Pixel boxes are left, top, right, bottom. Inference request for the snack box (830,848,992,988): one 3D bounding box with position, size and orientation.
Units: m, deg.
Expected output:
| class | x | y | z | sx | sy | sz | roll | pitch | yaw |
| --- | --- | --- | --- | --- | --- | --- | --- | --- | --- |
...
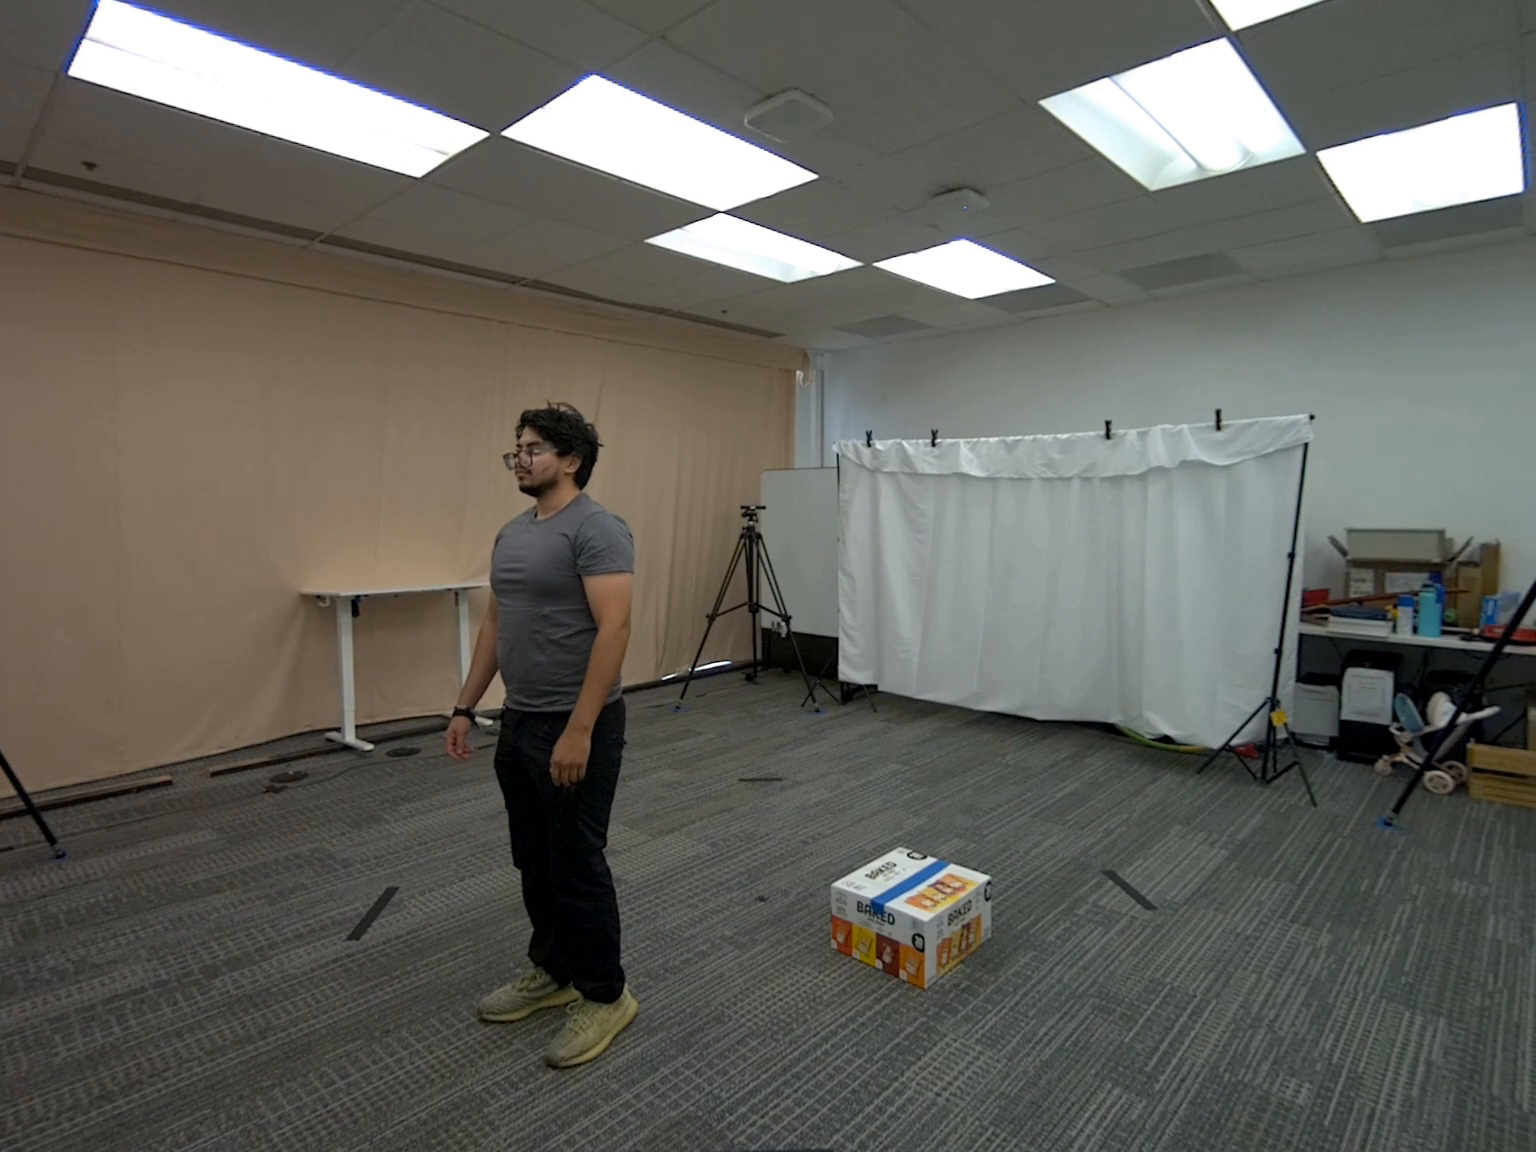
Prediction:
| class | x | y | z | sx | sy | sz | roll | pitch | yaw |
| --- | --- | --- | --- | --- | --- | --- | --- | --- | --- |
| snack box | 0.462 | 1.068 | 2.669 | 0.352 | 0.205 | 0.393 | 4 | 6 | 42 |
